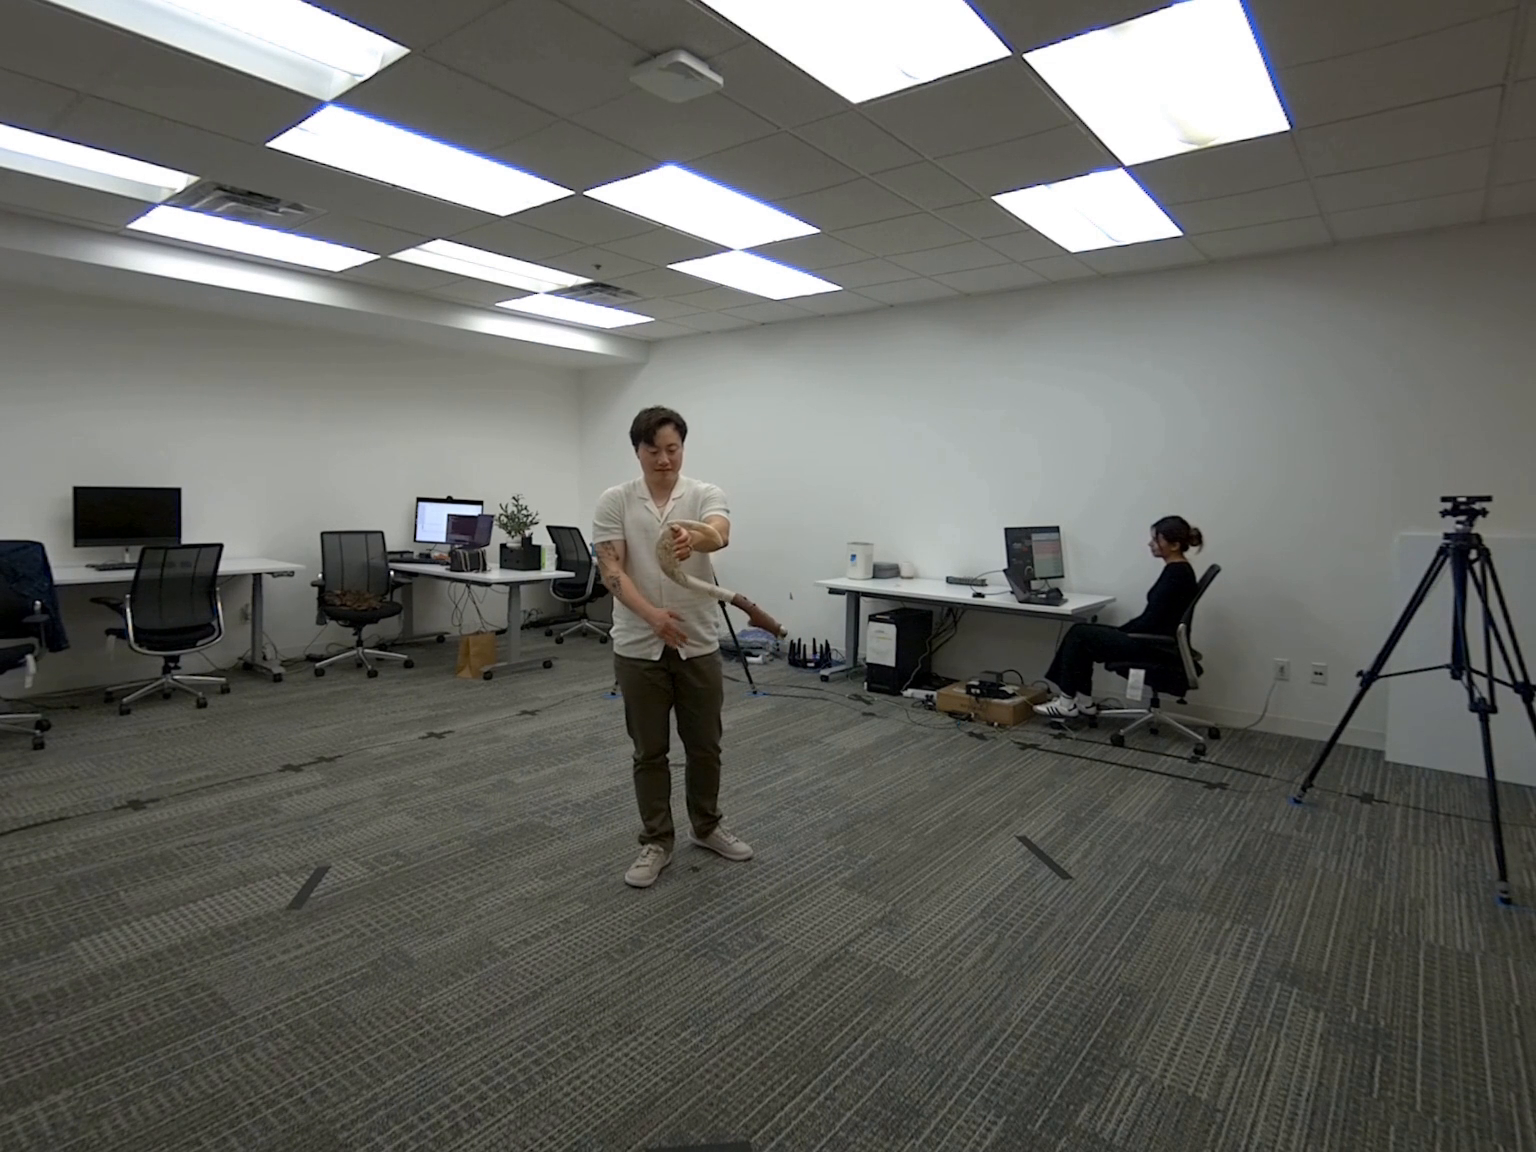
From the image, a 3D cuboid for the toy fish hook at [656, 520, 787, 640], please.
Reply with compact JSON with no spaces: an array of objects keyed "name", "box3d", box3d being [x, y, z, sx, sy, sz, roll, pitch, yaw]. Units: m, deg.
[{"name":"toy fish hook","box3d":[-0.147,0.005,2.640,0.514,0.223,0.048,35,25,10]}]
